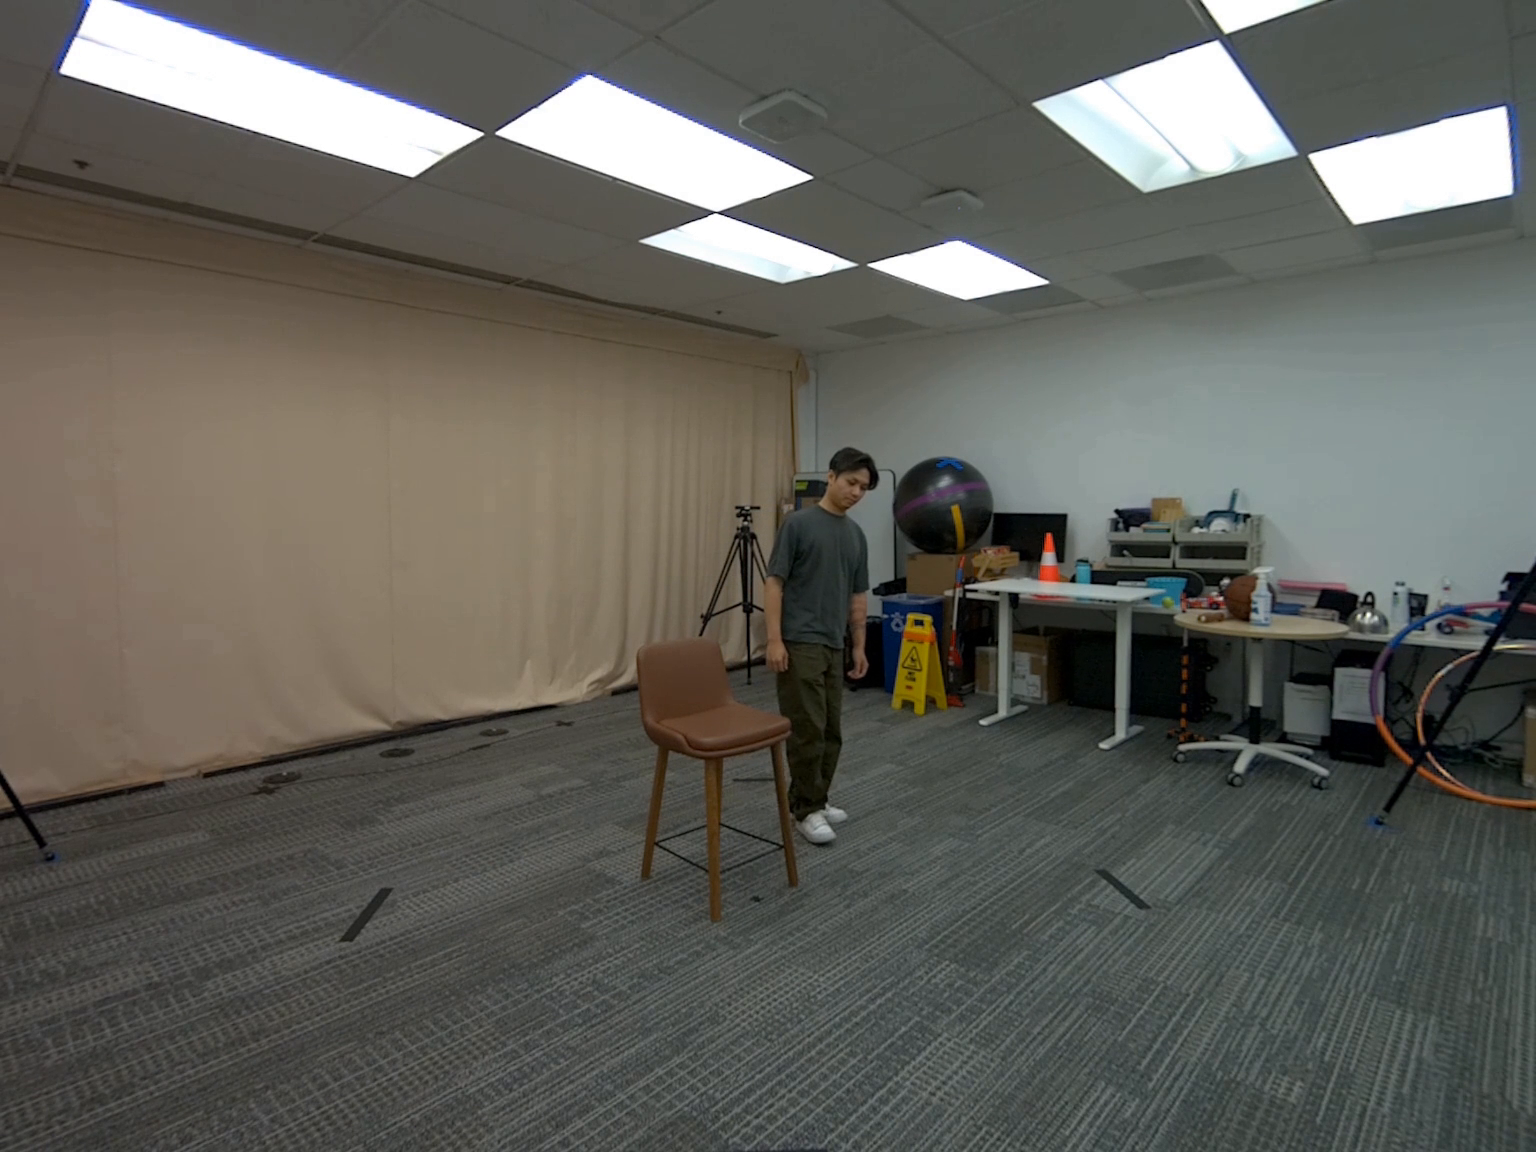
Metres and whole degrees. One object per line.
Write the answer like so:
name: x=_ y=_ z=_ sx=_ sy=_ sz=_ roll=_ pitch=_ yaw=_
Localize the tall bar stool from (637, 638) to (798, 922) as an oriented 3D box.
tall bar stool: x=-0.195 y=0.700 z=3.098 sx=0.442 sy=0.889 sz=0.483 roll=-3 pitch=2 yaw=-43
